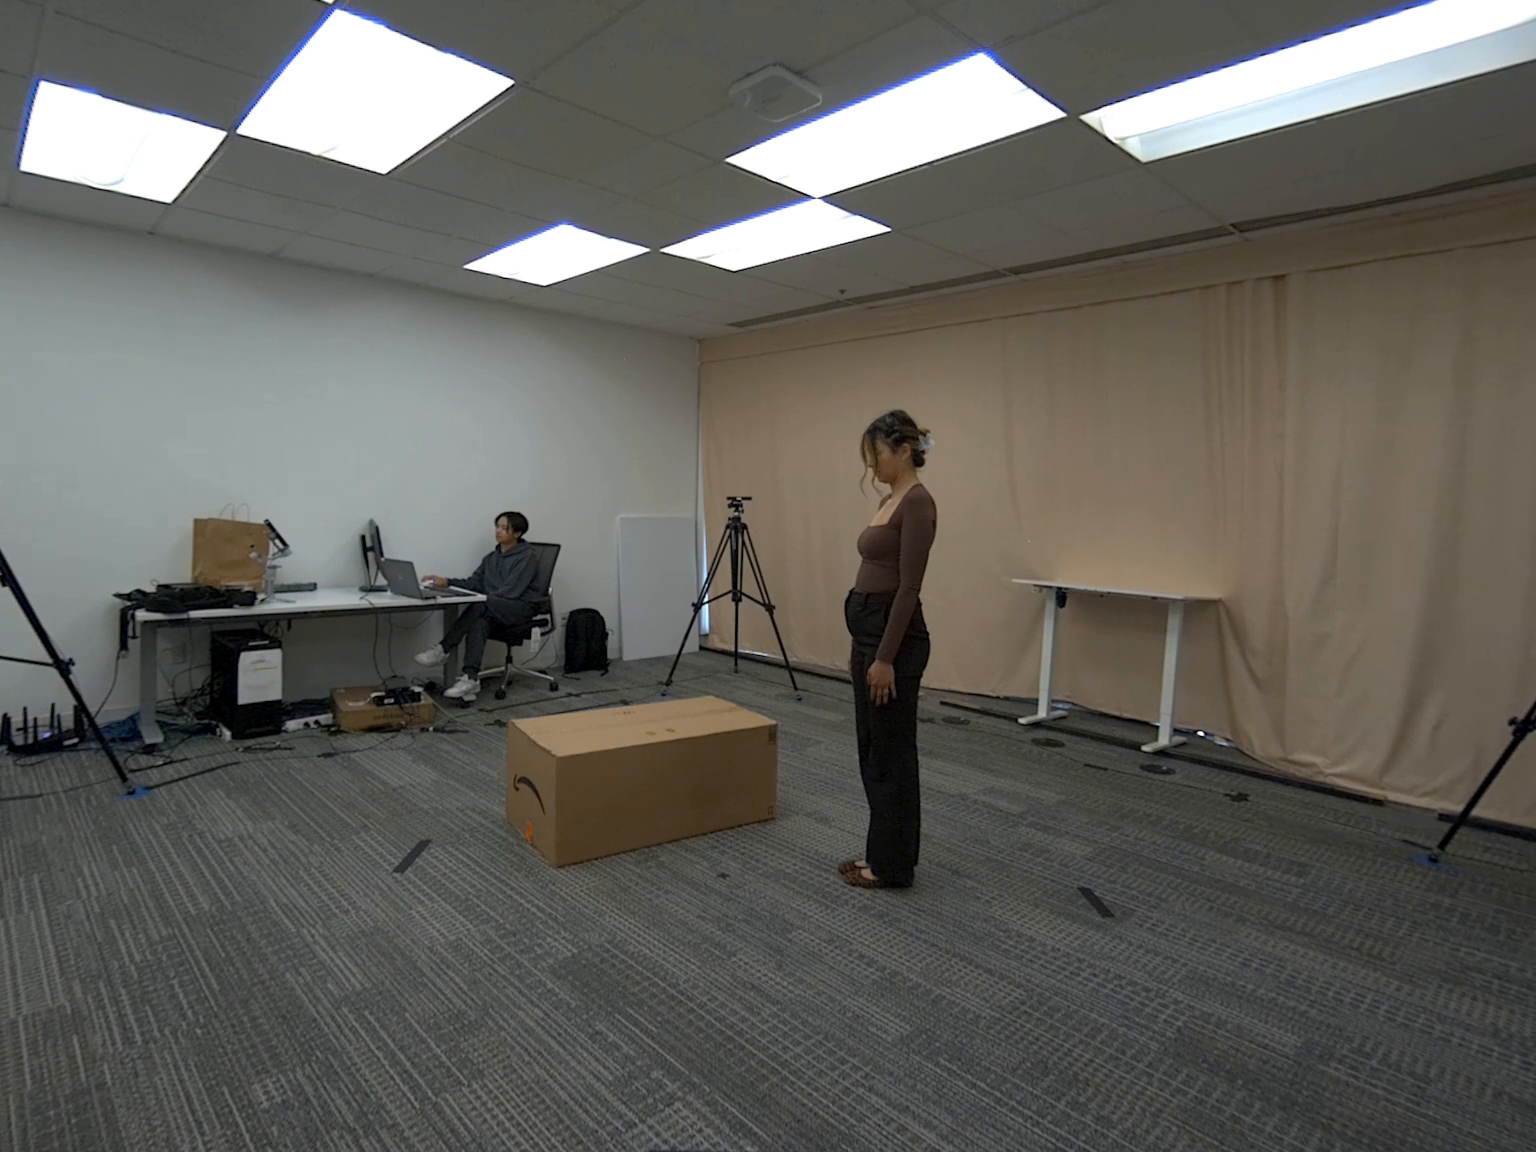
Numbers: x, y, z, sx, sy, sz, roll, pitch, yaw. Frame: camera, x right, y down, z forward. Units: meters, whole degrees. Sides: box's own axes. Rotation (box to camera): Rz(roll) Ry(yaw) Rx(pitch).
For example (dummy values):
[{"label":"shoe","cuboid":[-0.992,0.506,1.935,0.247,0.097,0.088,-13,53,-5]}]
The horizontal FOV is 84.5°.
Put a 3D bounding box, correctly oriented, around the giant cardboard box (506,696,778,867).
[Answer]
[{"label":"giant cardboard box","cuboid":[-0.542,0.840,3.635,1.005,0.446,0.598,-1,4,-34]}]
